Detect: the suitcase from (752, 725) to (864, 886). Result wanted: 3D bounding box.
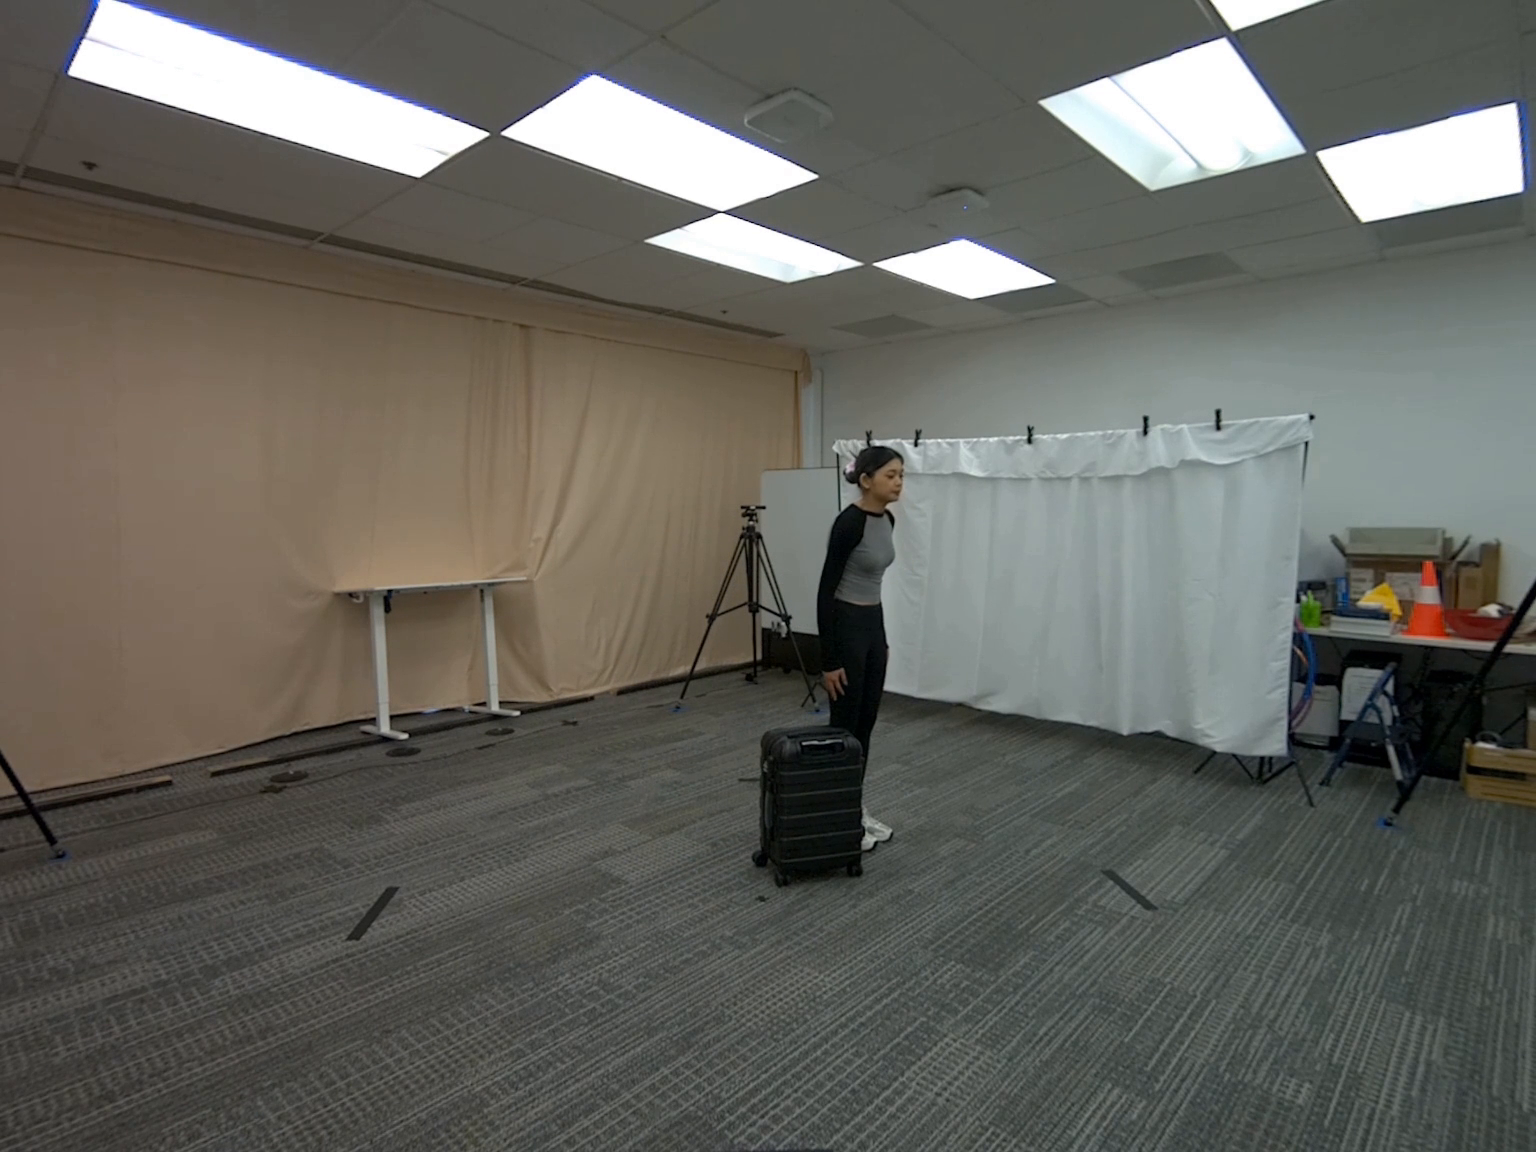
[{"bbox_3d":[0.158,0.846,3.196,0.369,0.548,0.253,-1,4,-18],"label":"suitcase"}]
